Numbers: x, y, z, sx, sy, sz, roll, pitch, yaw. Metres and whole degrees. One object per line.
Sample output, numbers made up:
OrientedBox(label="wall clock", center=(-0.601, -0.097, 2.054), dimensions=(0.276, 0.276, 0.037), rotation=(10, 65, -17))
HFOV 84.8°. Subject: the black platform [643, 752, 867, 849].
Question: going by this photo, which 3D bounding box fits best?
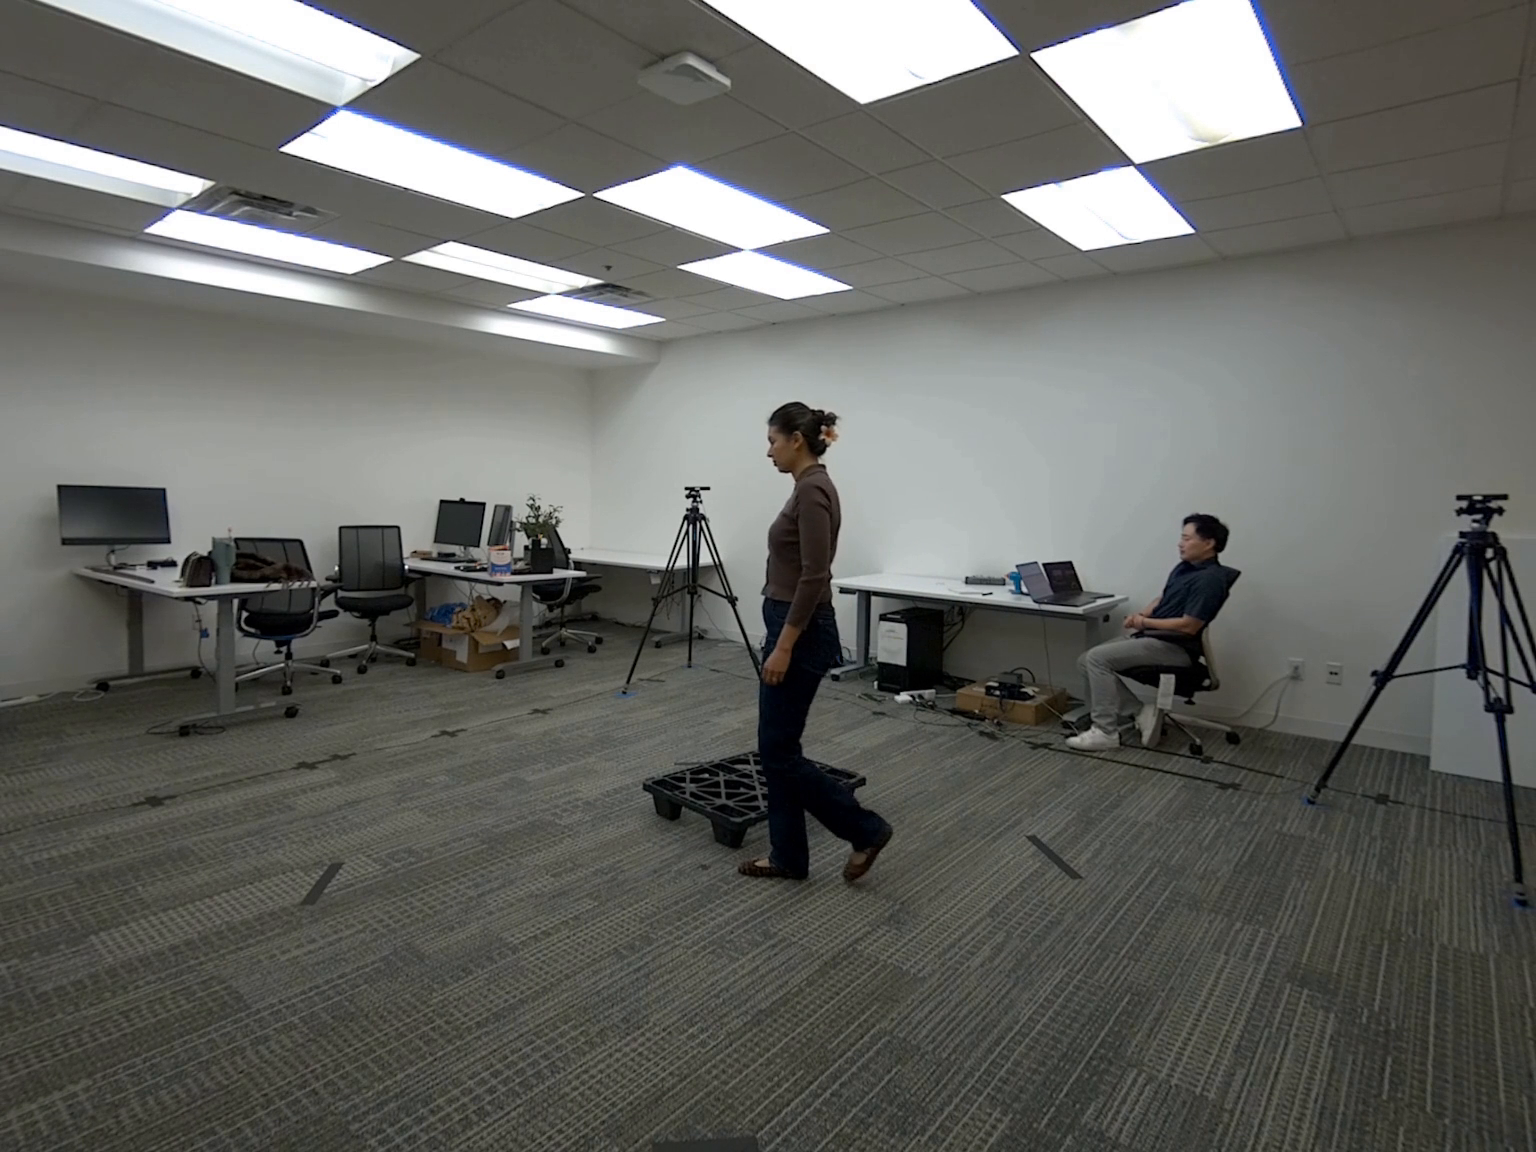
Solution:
OrientedBox(label="black platform", center=(-0.060, 0.942, 3.689), dimensions=(0.781, 0.142, 0.626), rotation=(-5, 9, -44))
